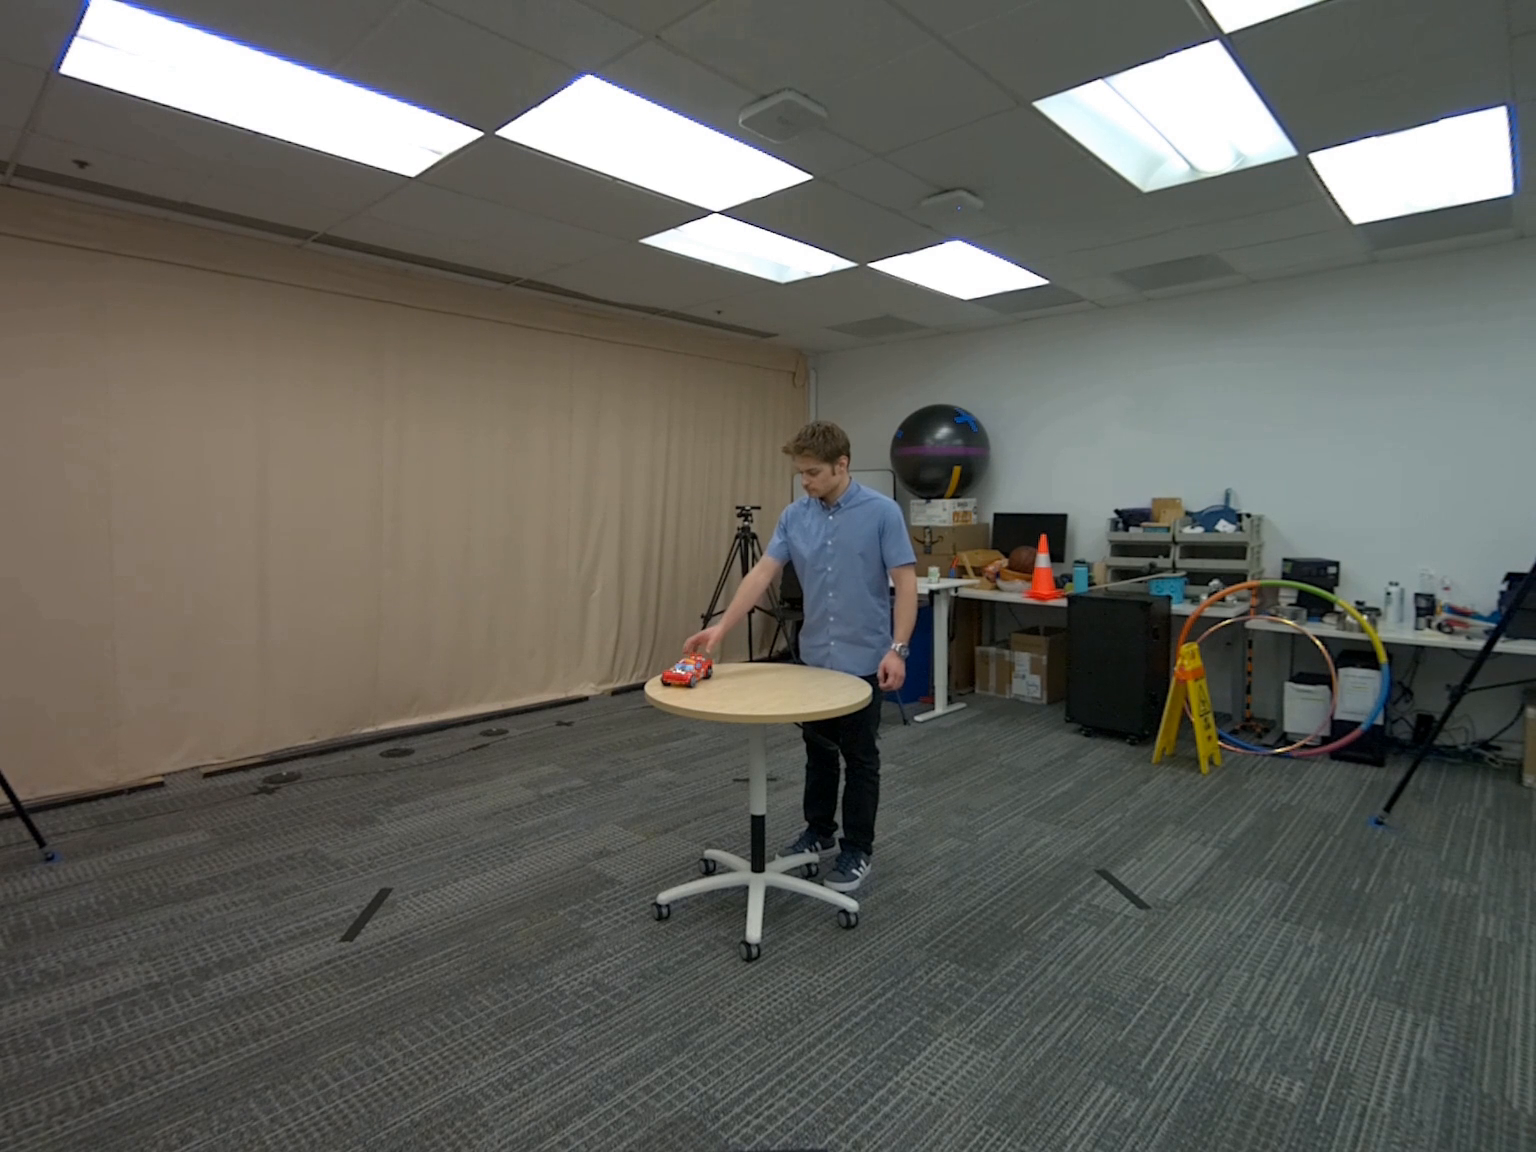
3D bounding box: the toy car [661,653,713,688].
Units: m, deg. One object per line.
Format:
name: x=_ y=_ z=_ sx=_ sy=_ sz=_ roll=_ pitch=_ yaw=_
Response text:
toy car: x=-0.267 y=0.336 z=2.931 sx=0.133 sy=0.082 sz=0.252 roll=0 pitch=16 yaw=19
